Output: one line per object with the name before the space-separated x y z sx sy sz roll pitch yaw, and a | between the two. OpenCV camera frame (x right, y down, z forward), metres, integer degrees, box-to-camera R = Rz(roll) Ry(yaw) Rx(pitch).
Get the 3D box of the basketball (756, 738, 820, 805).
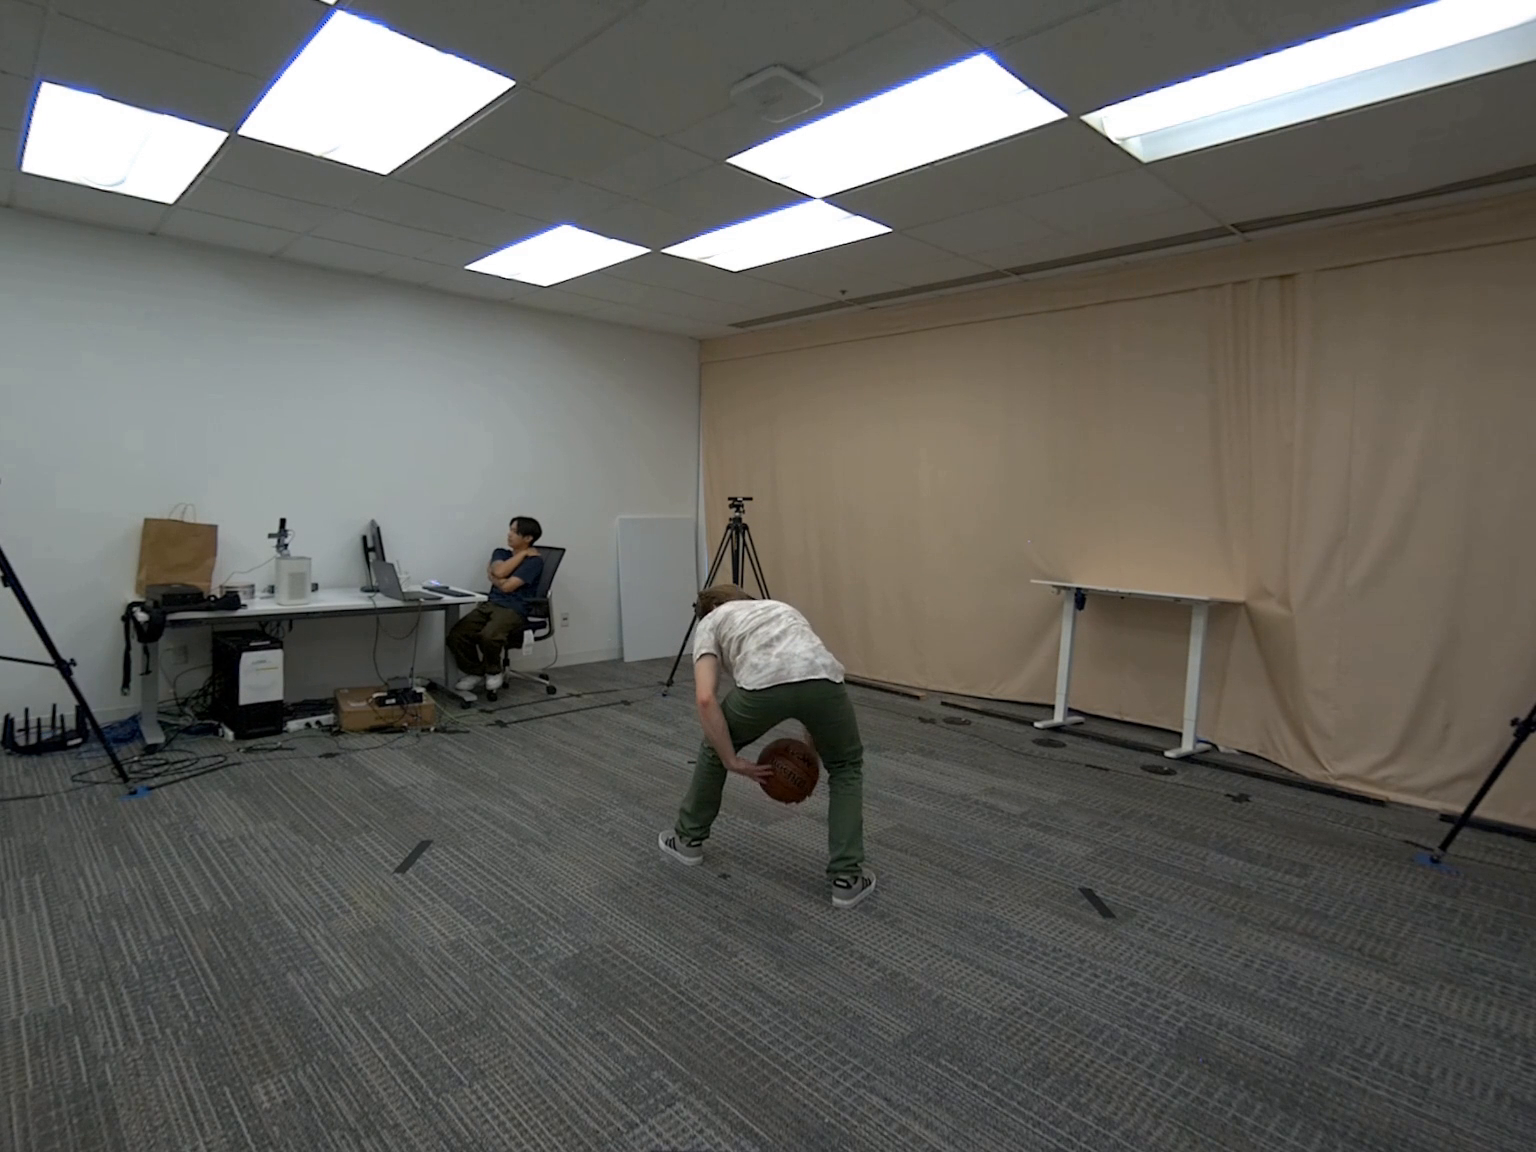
basketball | 0.069 0.735 3.202 0.236 0.235 0.237 1 4 -1
